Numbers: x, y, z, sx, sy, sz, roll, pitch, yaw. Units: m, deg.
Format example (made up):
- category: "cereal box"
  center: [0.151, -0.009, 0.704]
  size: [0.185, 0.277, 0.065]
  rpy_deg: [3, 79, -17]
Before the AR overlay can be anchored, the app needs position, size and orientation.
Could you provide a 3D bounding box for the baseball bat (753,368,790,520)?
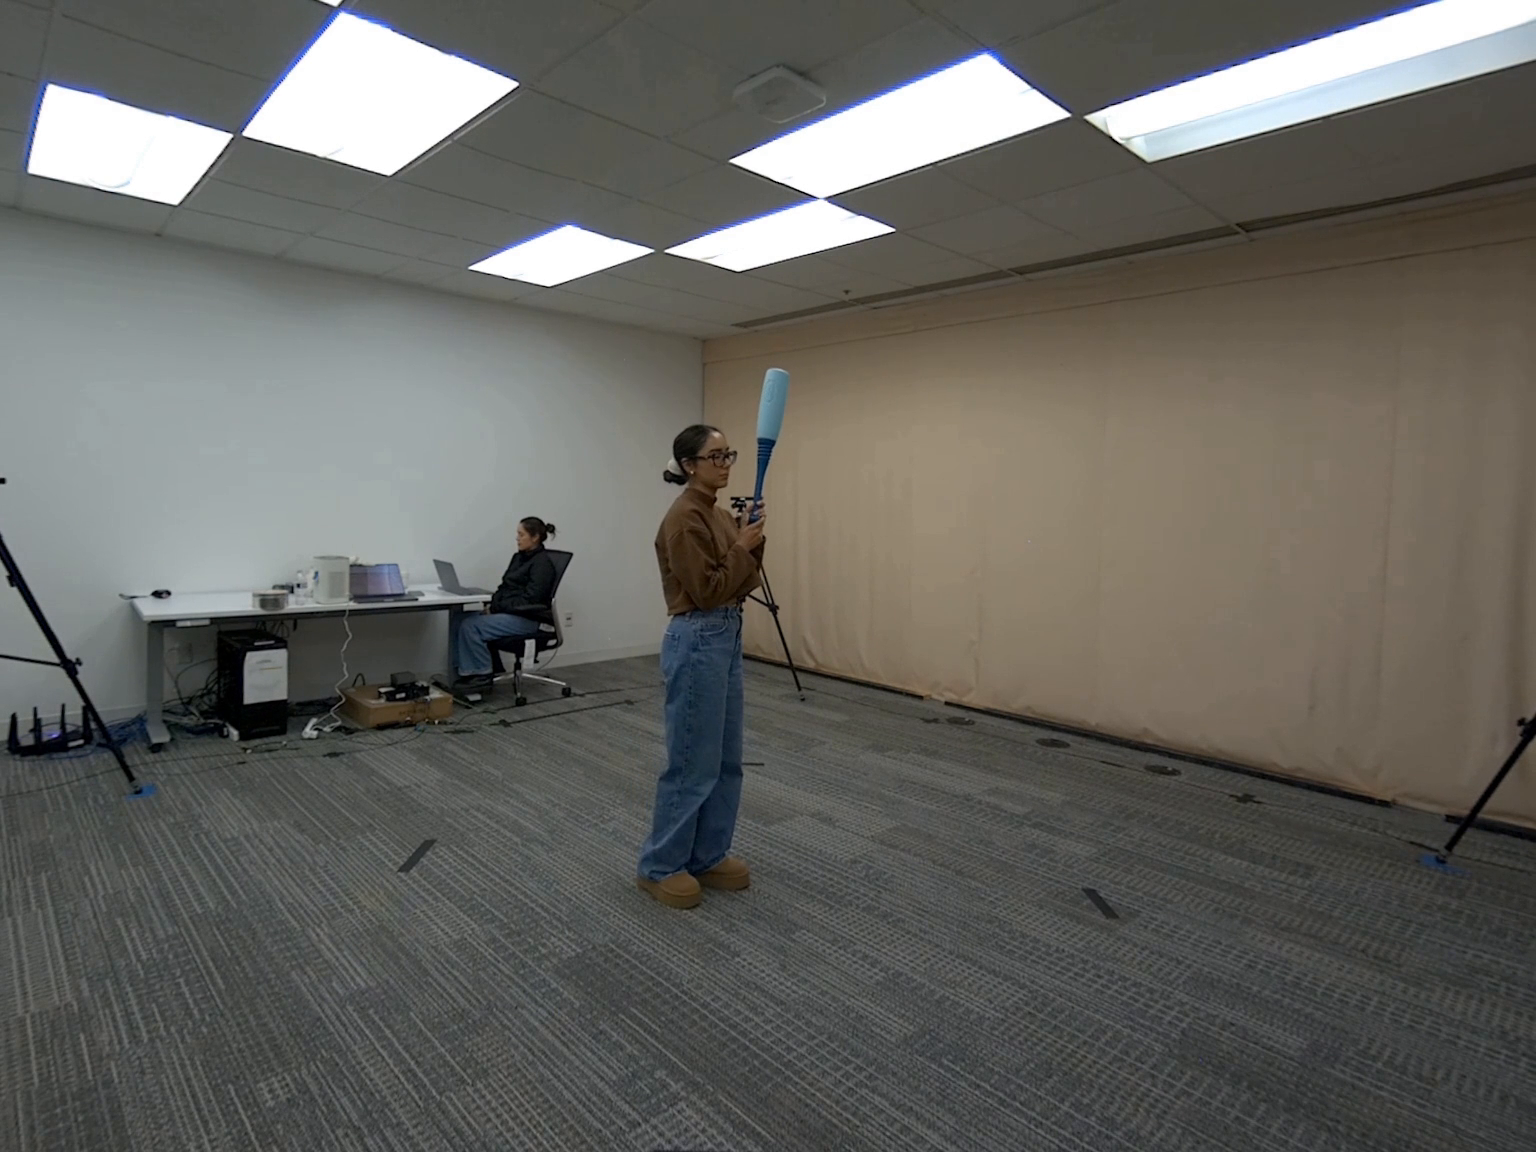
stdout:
- category: "baseball bat"
  center: [-0.017, -0.455, 2.929]
  size: [0.089, 0.544, 0.089]
  rpy_deg: [10, -4, -1]
